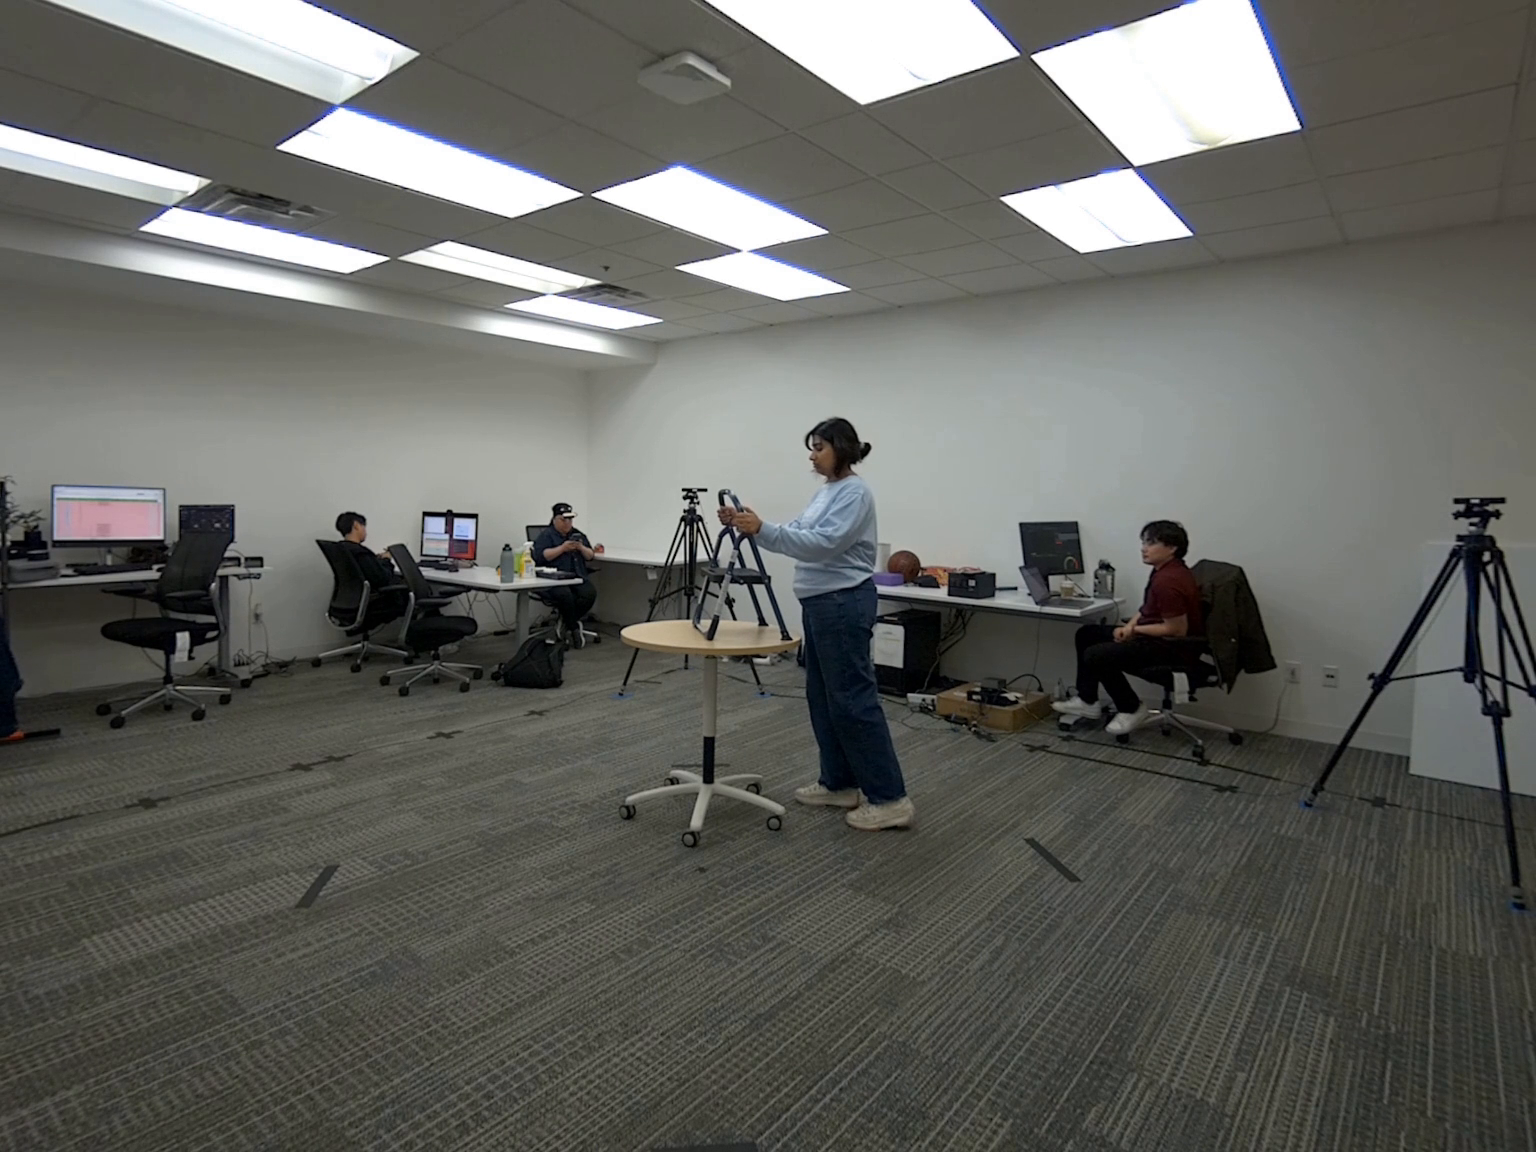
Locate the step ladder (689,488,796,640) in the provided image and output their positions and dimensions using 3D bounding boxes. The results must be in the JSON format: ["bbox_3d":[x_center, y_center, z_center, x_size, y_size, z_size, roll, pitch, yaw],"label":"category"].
[{"bbox_3d":[-0.125,-0.070,3.618,0.344,0.604,0.438,1,3,-14],"label":"step ladder"}]
